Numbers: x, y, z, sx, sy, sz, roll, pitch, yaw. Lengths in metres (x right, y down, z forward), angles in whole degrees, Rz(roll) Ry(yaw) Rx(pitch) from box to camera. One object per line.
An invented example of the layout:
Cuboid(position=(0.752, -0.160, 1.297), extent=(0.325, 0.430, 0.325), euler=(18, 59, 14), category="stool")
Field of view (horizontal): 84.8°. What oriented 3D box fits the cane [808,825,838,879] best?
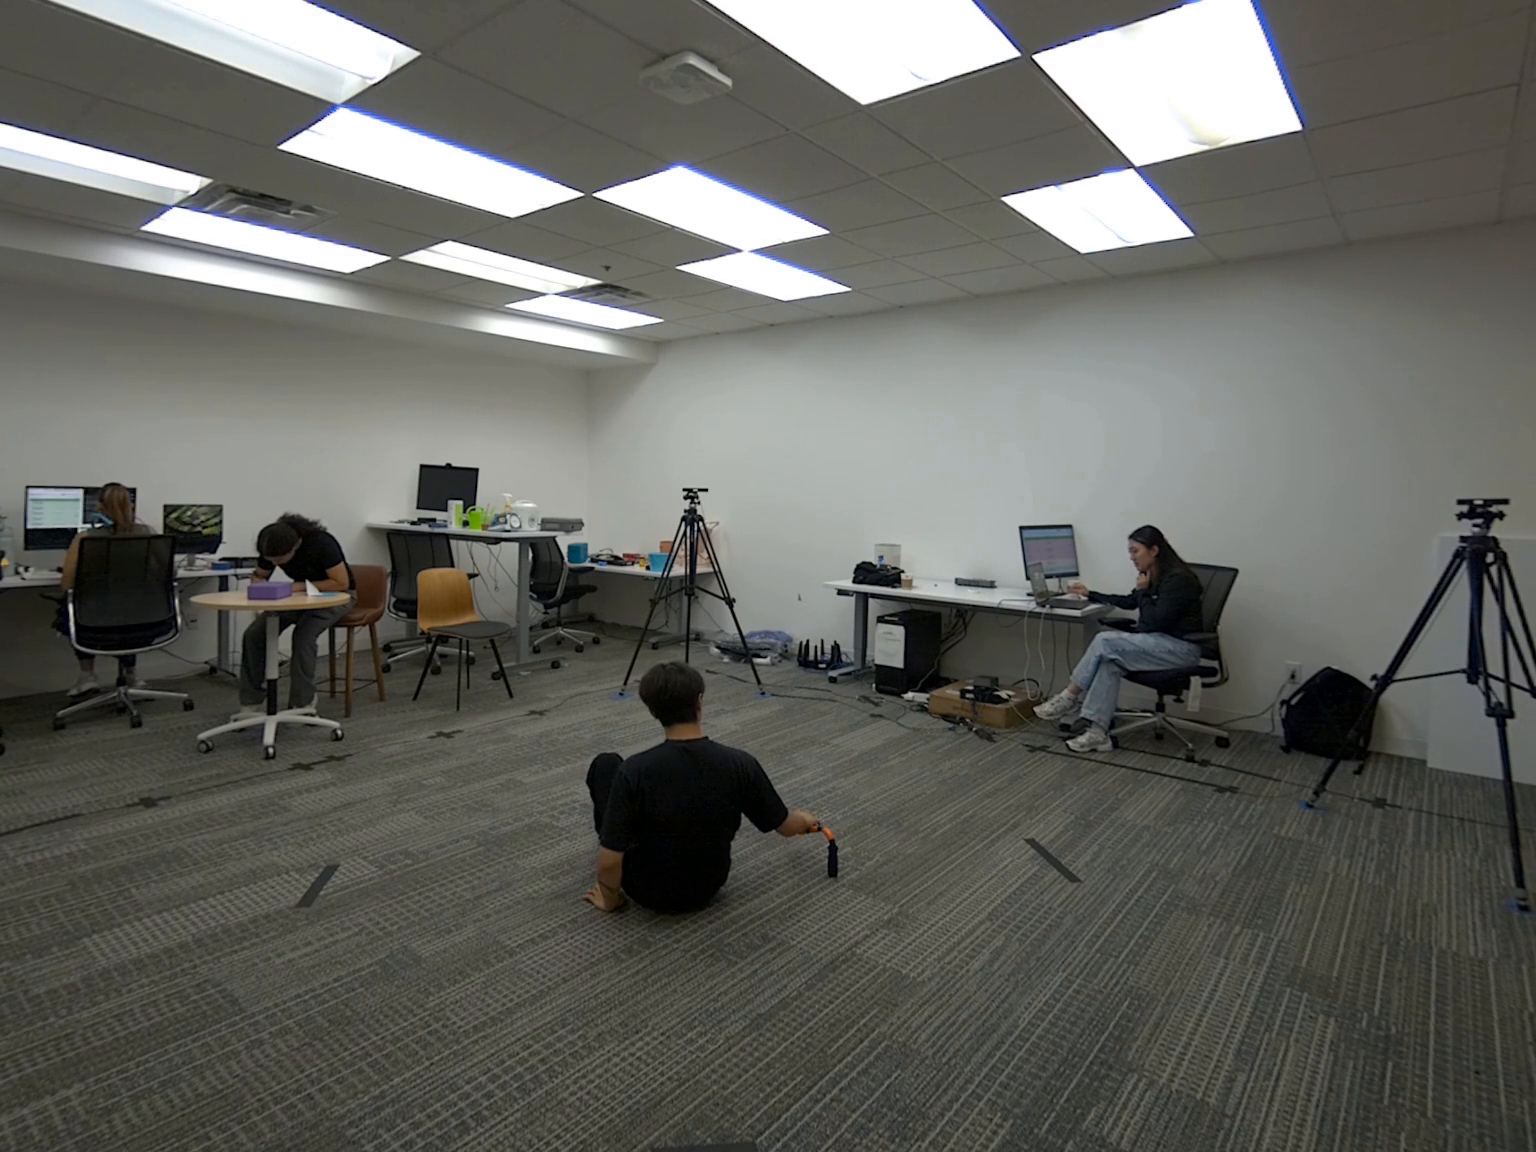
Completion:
Cuboid(position=(-0.031, 0.924, 3.440), extent=(0.147, 0.206, 0.938), euler=(-1, 6, -34), category="cane")
